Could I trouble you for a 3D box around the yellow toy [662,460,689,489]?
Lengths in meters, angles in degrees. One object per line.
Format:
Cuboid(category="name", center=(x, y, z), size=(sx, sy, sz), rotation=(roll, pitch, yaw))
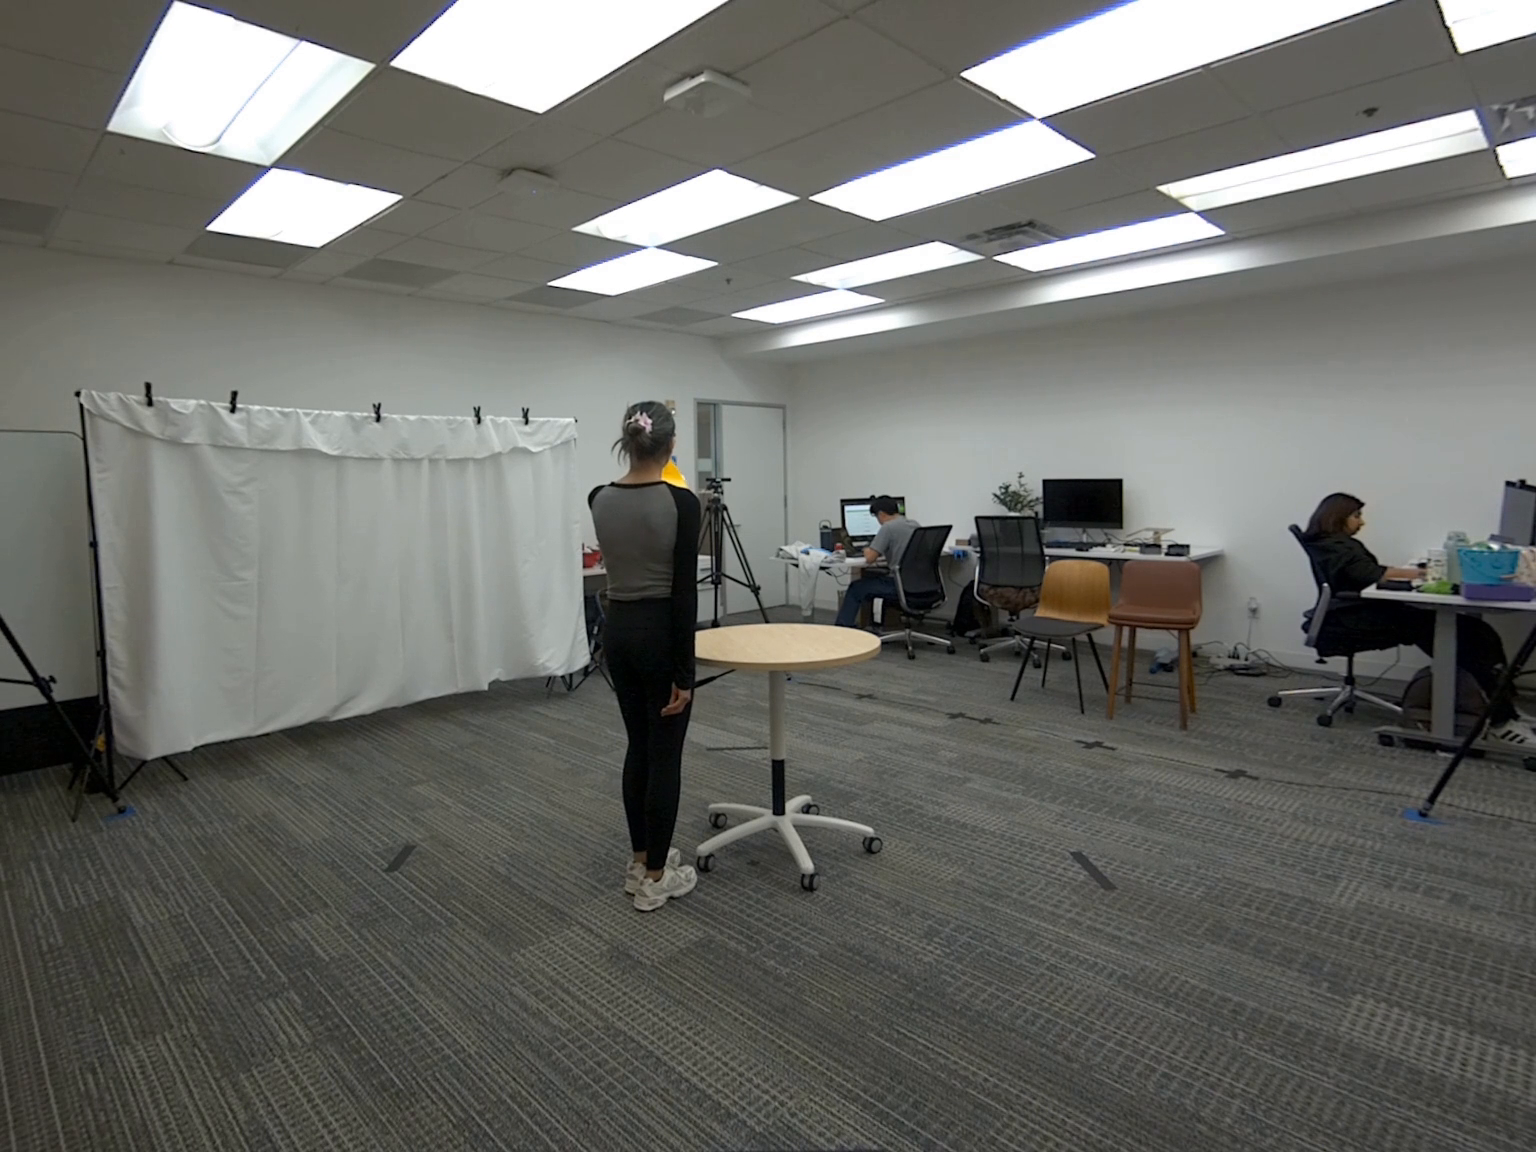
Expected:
Cuboid(category="yellow toy", center=(-0.397, -0.354, 3.389), size=(0.204, 0.230, 0.194), rotation=(4, 4, -3))
